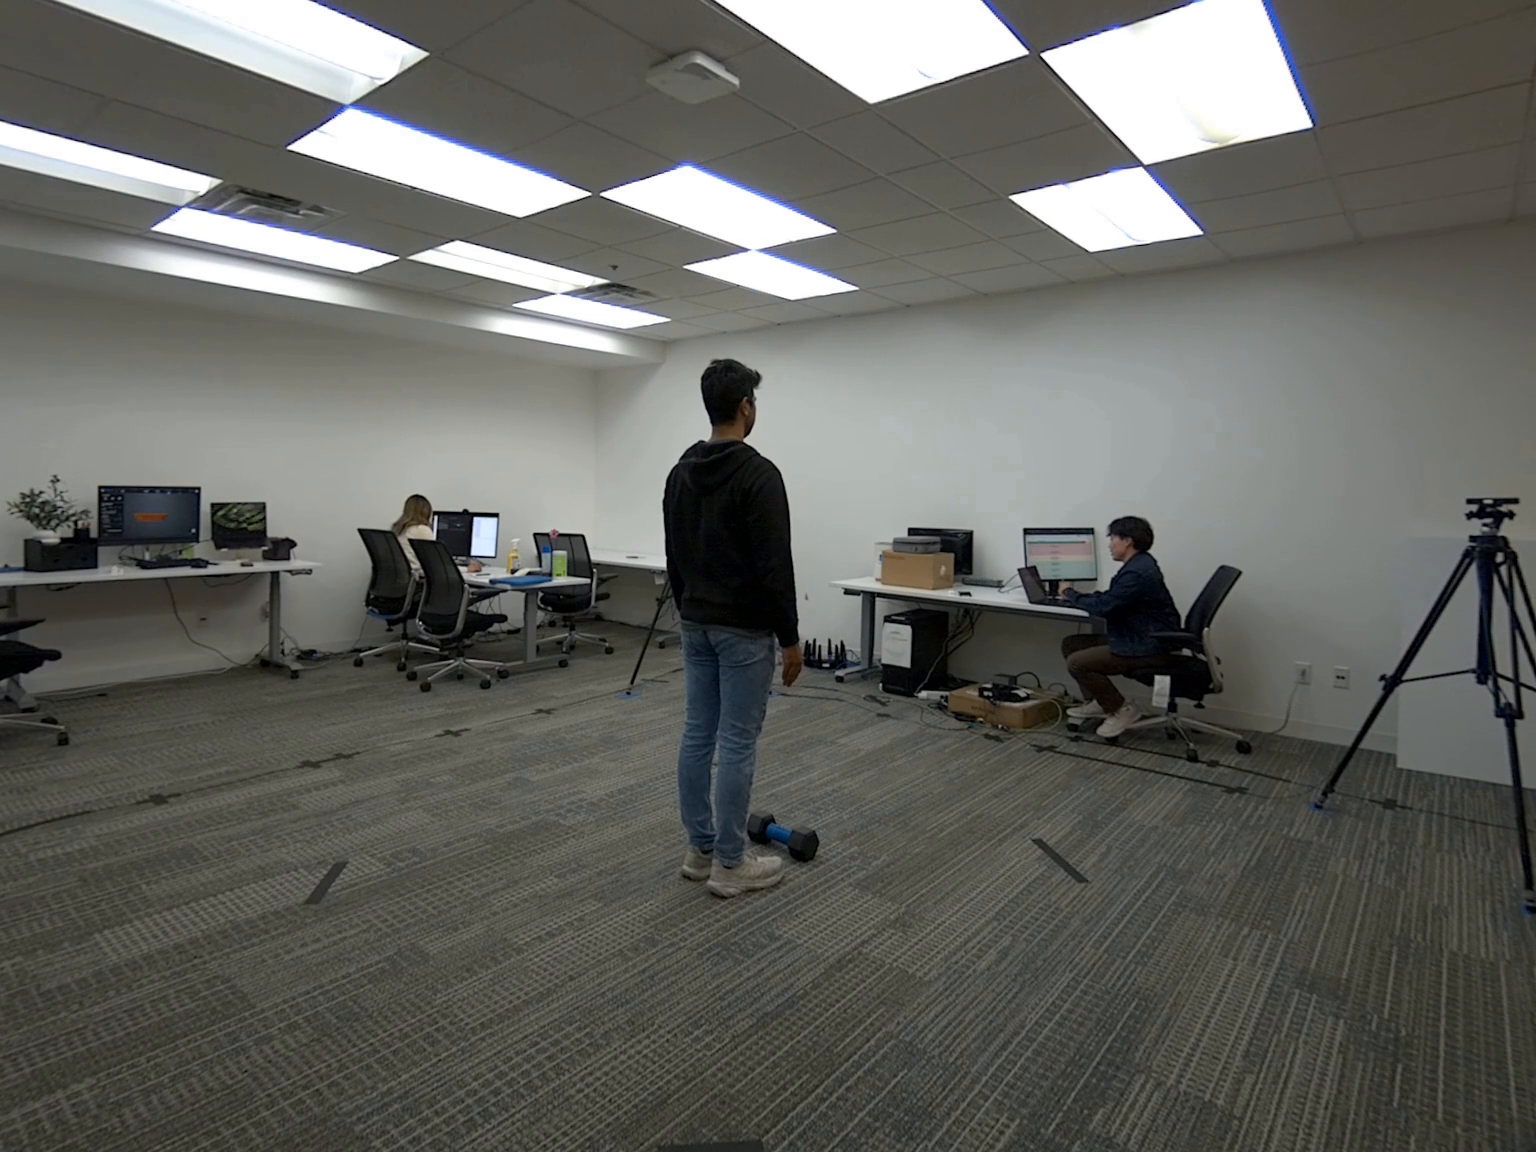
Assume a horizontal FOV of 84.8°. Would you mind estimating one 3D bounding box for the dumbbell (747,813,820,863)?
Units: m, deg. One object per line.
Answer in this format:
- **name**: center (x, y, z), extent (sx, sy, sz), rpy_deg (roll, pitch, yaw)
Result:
- **dumbbell**: center (0.045, 0.999, 3.294), extent (0.304, 0.124, 0.104), rpy_deg (6, -24, 42)
